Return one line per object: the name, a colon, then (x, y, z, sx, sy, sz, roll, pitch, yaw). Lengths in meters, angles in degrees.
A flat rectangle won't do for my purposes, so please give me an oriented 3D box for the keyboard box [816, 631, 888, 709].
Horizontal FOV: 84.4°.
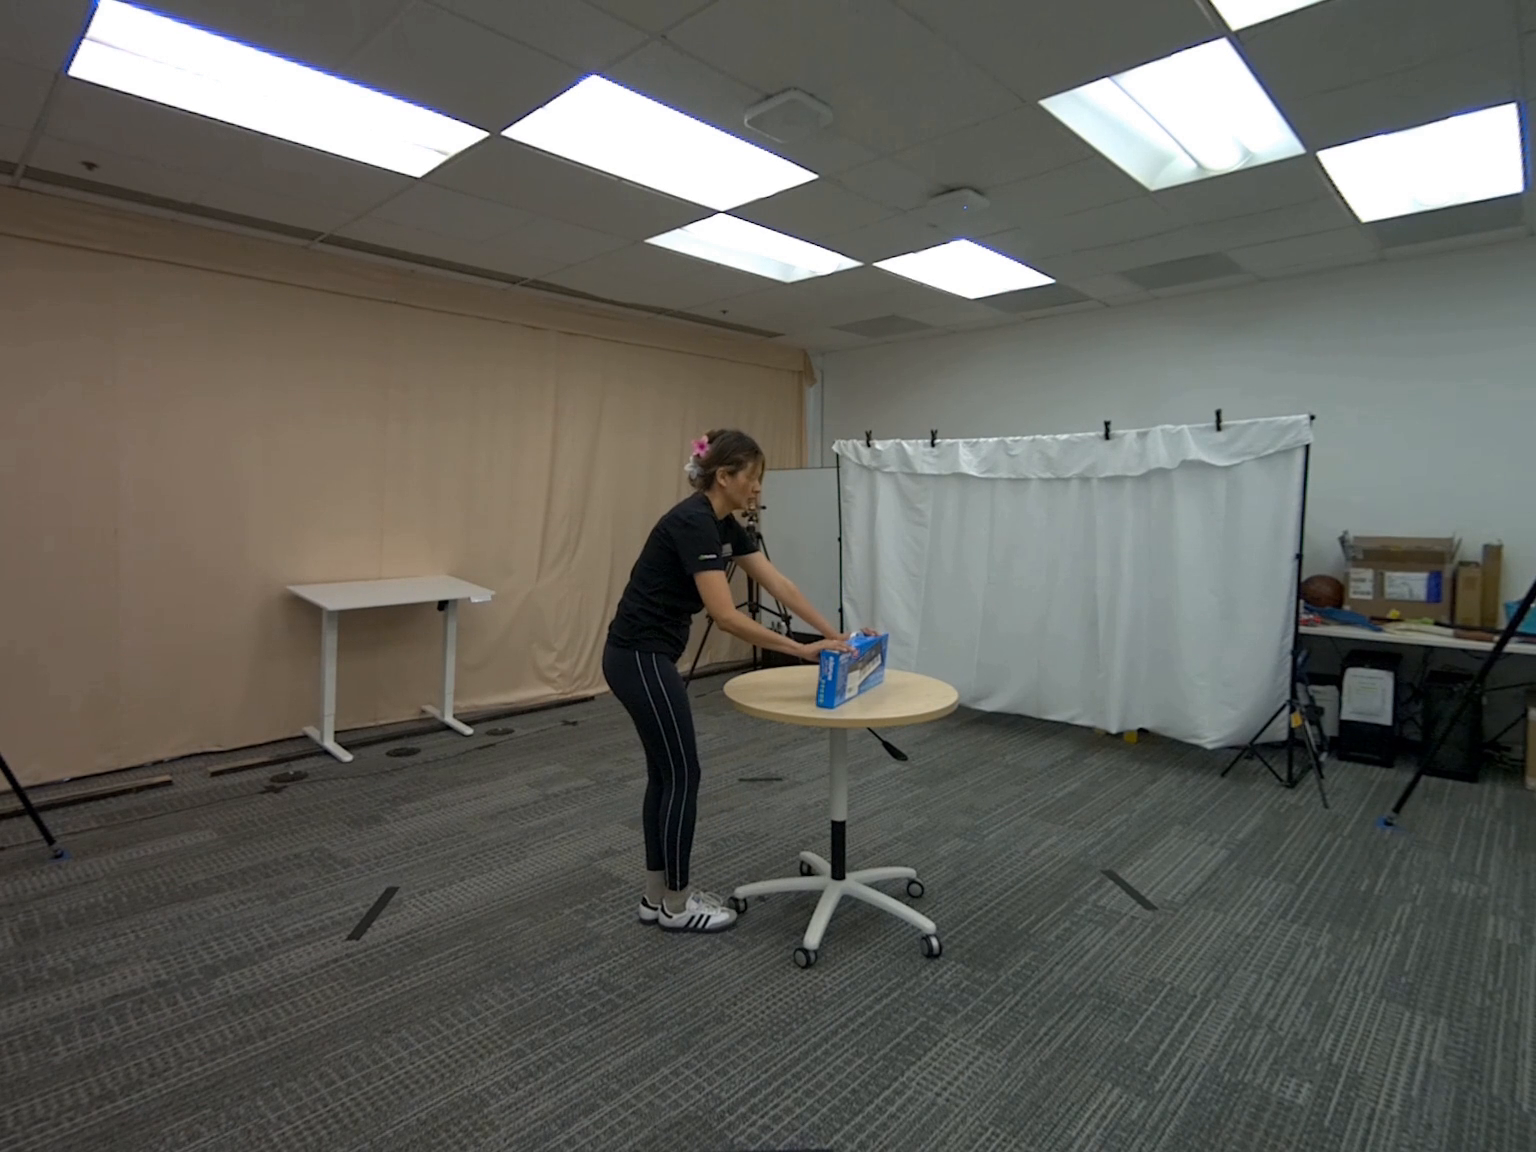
keyboard box: (0.286, 0.299, 2.701, 0.061, 0.175, 0.426, 9, 9, 28)
